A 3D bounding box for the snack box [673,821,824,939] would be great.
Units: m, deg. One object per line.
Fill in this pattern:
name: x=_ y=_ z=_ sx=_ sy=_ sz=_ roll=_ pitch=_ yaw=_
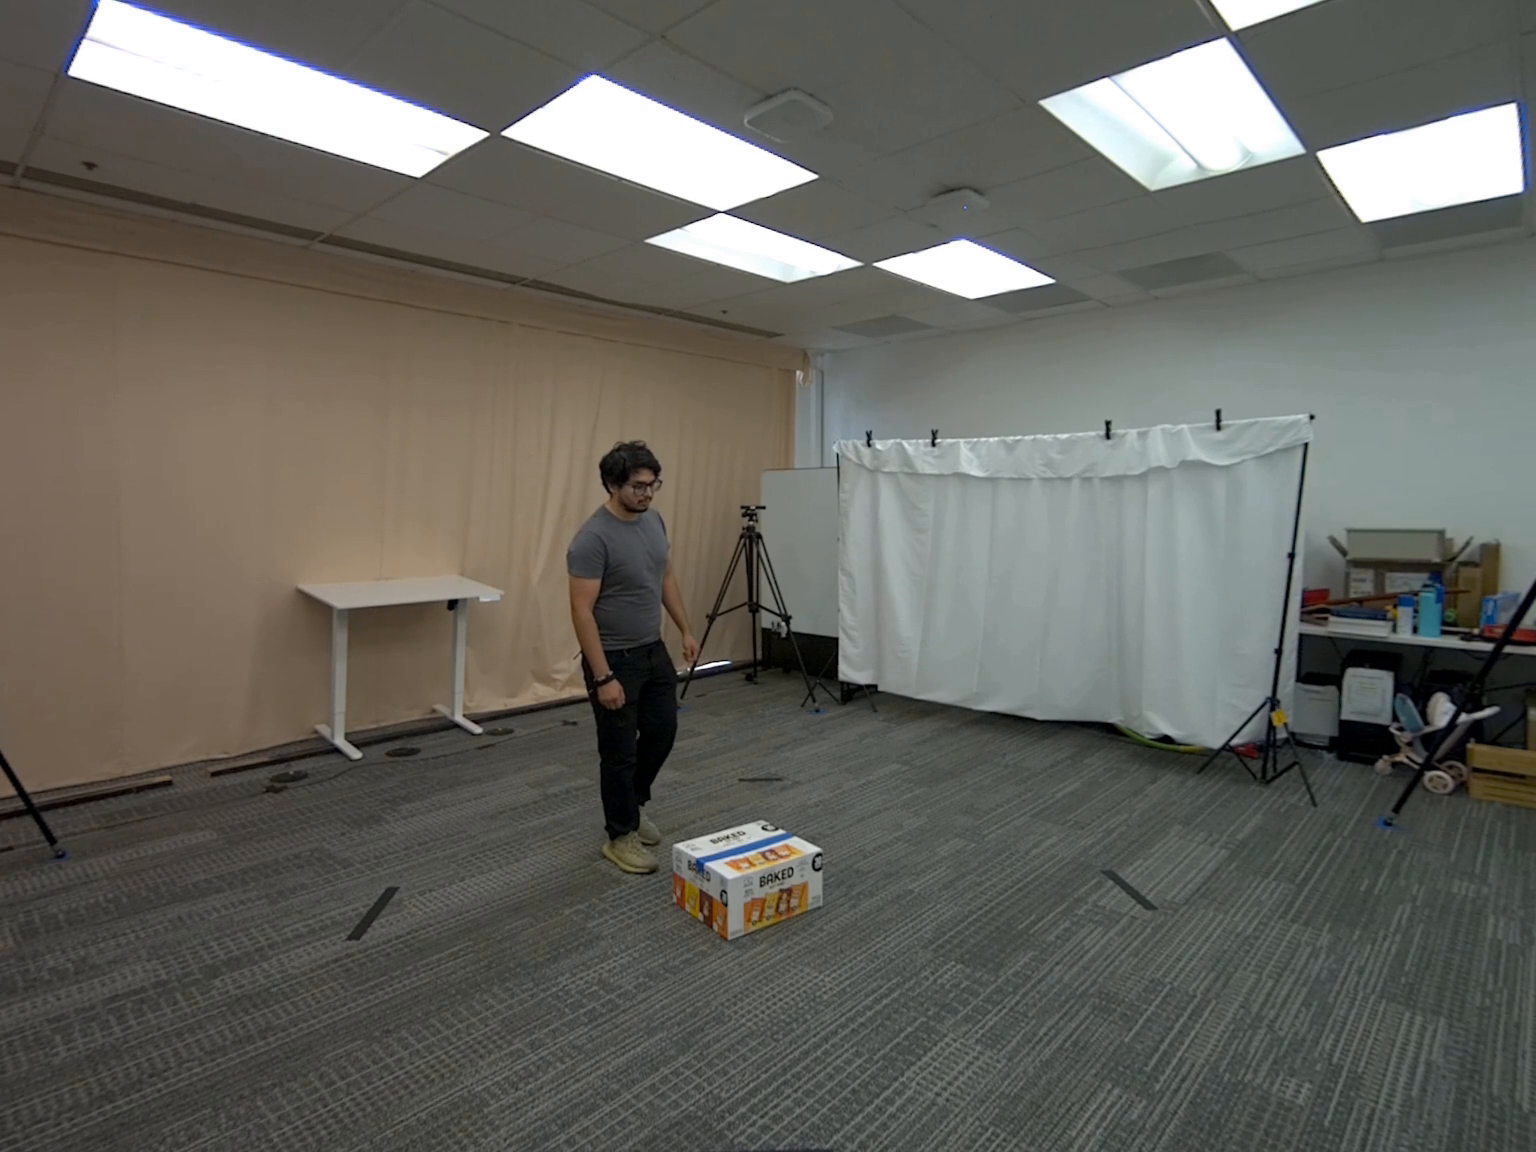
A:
snack box: x=-0.070 y=1.047 z=2.936 sx=0.393 sy=0.205 sz=0.351 roll=-4 pitch=5 yaw=-37
